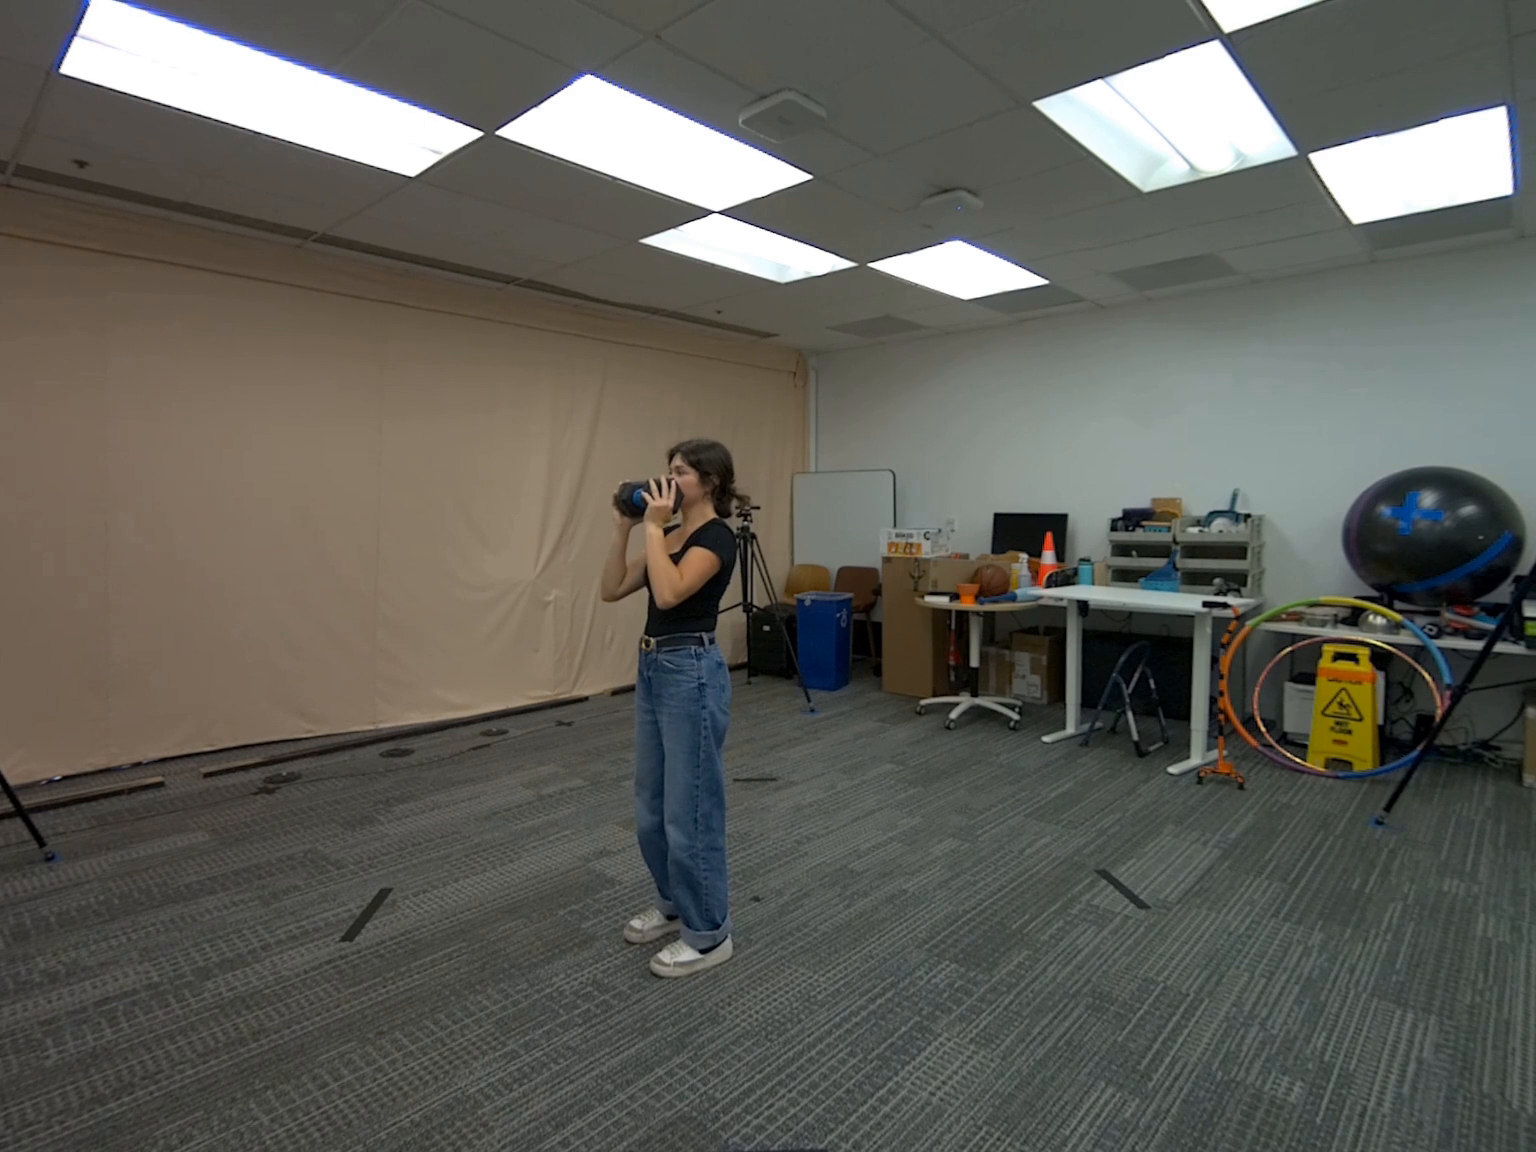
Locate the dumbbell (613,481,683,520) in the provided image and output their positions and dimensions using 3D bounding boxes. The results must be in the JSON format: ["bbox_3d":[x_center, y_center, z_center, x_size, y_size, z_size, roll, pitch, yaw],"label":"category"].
[{"bbox_3d":[-0.362,-0.244,2.578,0.108,0.120,0.302,-39,21,-21],"label":"dumbbell"}]
